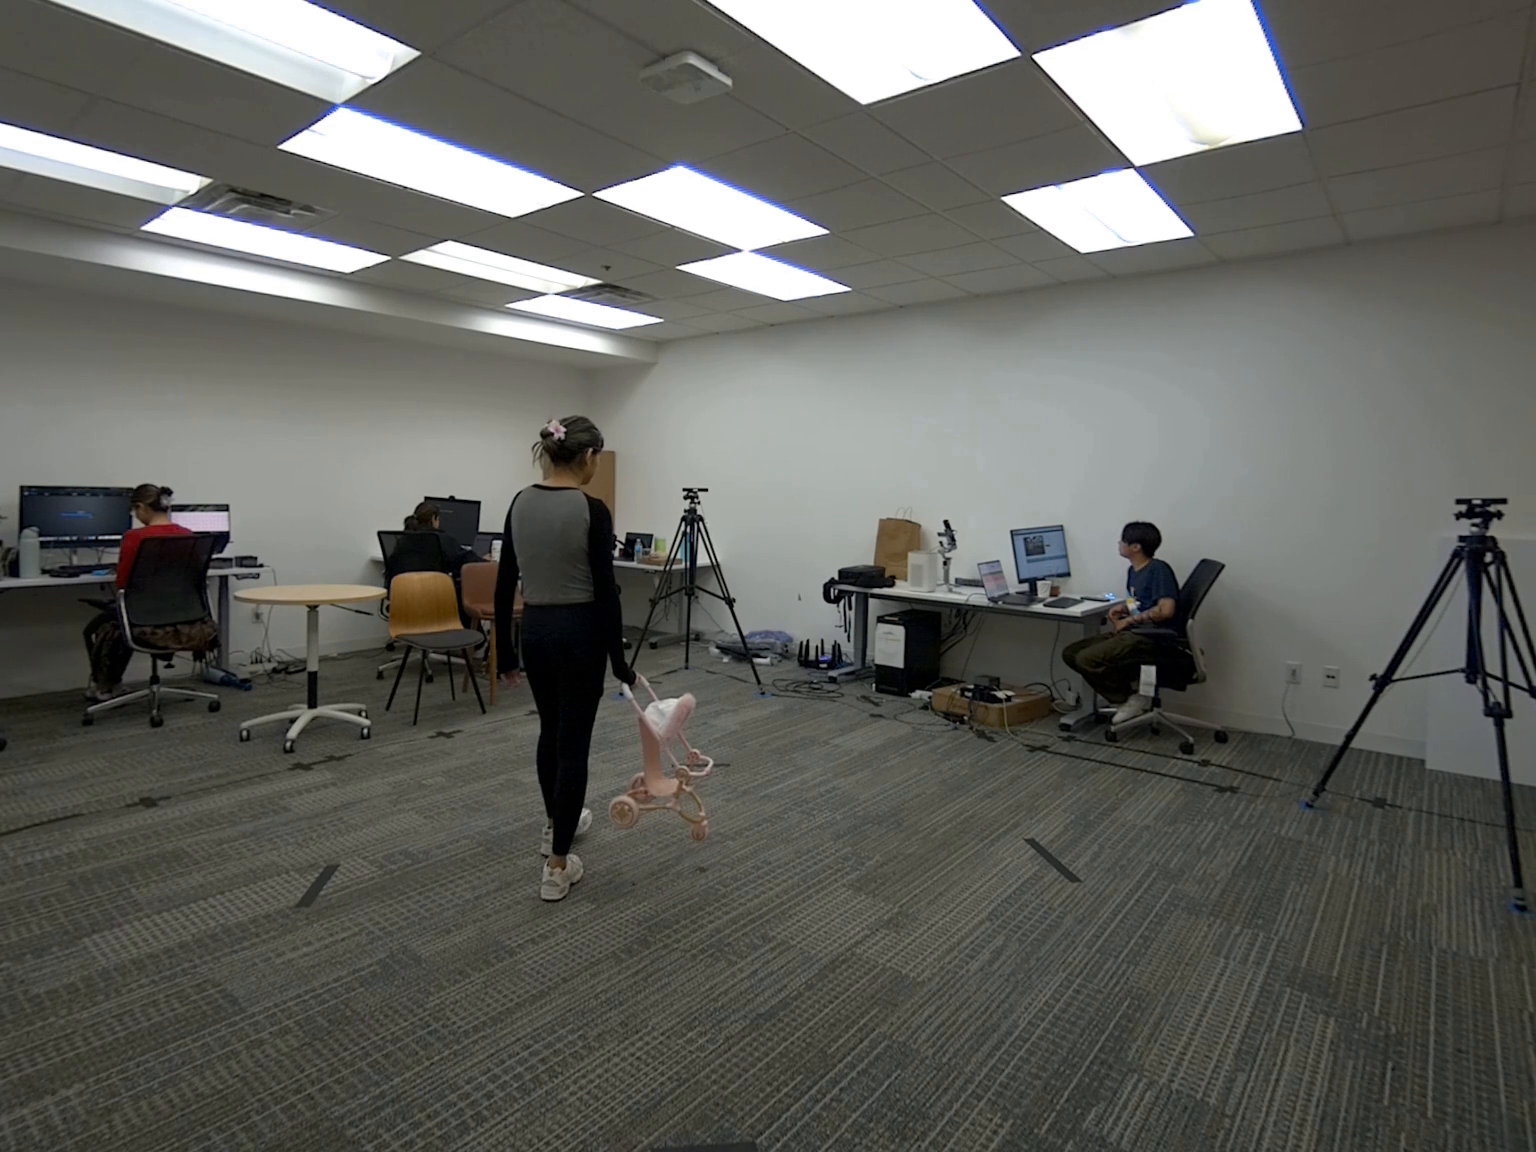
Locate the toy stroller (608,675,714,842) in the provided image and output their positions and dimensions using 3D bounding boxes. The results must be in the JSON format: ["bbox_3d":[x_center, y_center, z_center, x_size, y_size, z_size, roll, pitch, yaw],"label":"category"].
[{"bbox_3d":[-0.351,0.632,2.924,0.347,0.534,0.277,6,3,15],"label":"toy stroller"}]
